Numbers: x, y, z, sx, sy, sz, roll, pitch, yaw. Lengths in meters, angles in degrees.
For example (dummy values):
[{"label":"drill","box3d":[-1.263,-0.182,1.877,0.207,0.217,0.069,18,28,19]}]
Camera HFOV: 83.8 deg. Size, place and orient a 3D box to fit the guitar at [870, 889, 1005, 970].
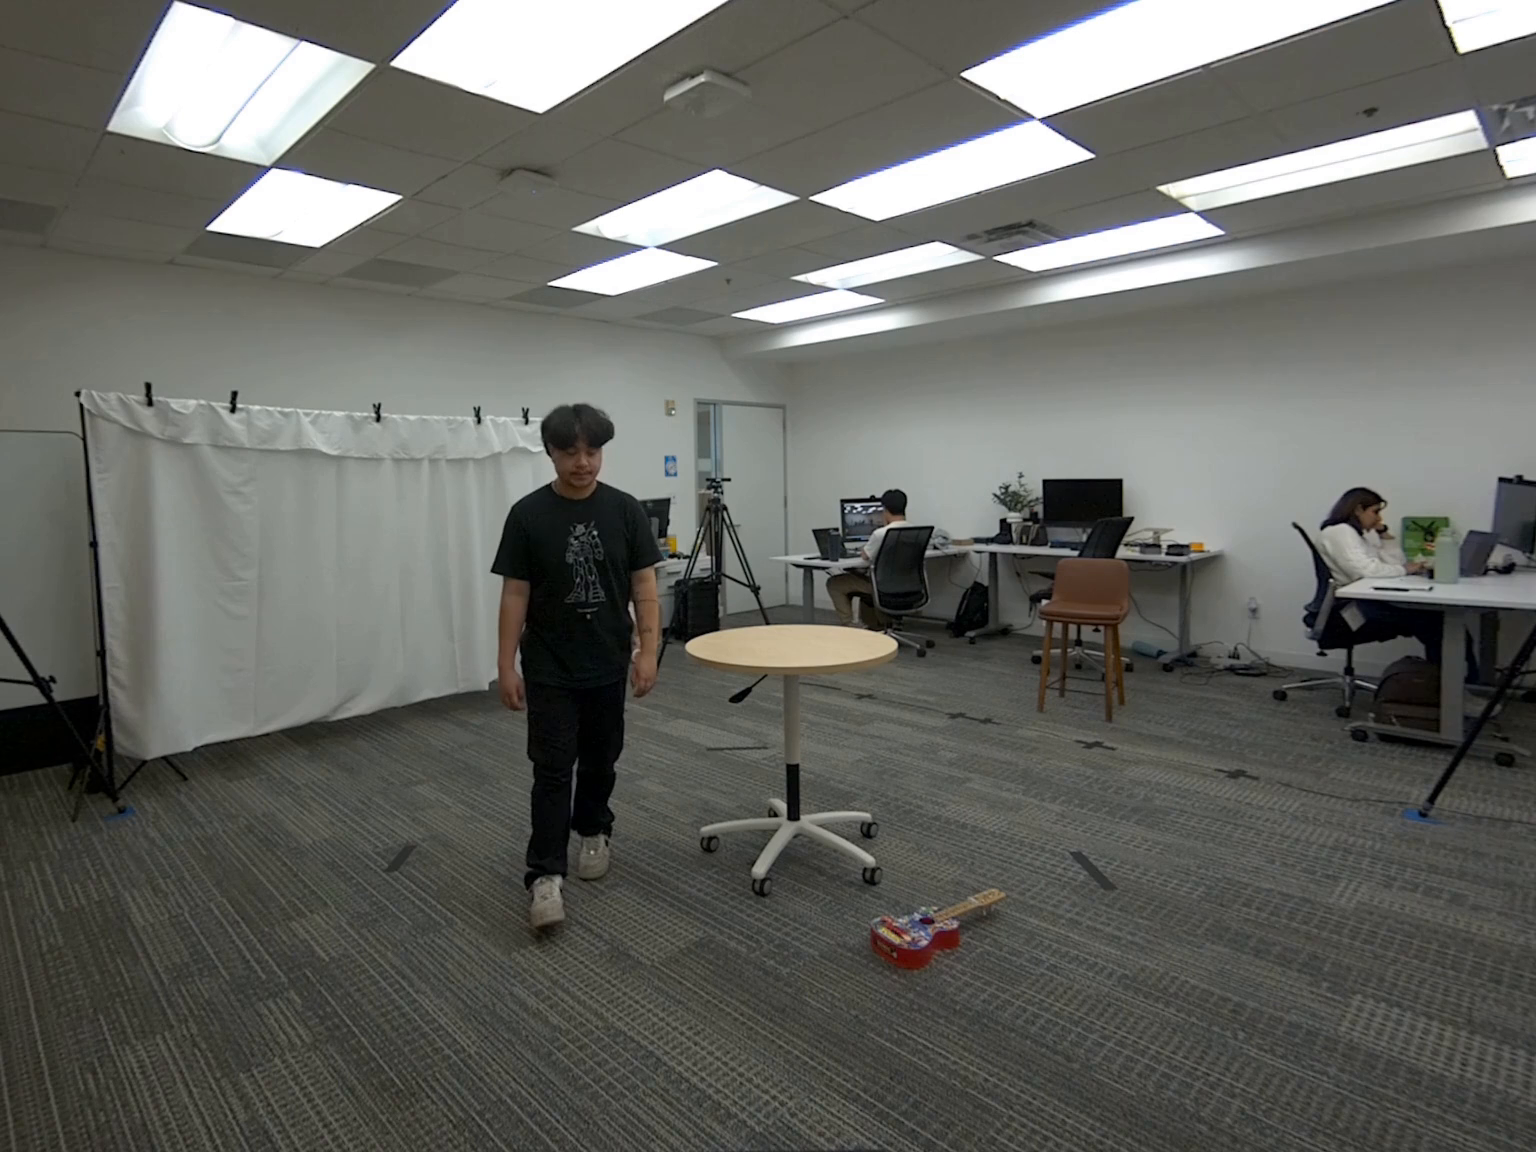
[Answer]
[{"label":"guitar","box3d":[0.555,1.058,2.575,0.488,0.070,0.197,-4,7,-23]}]
